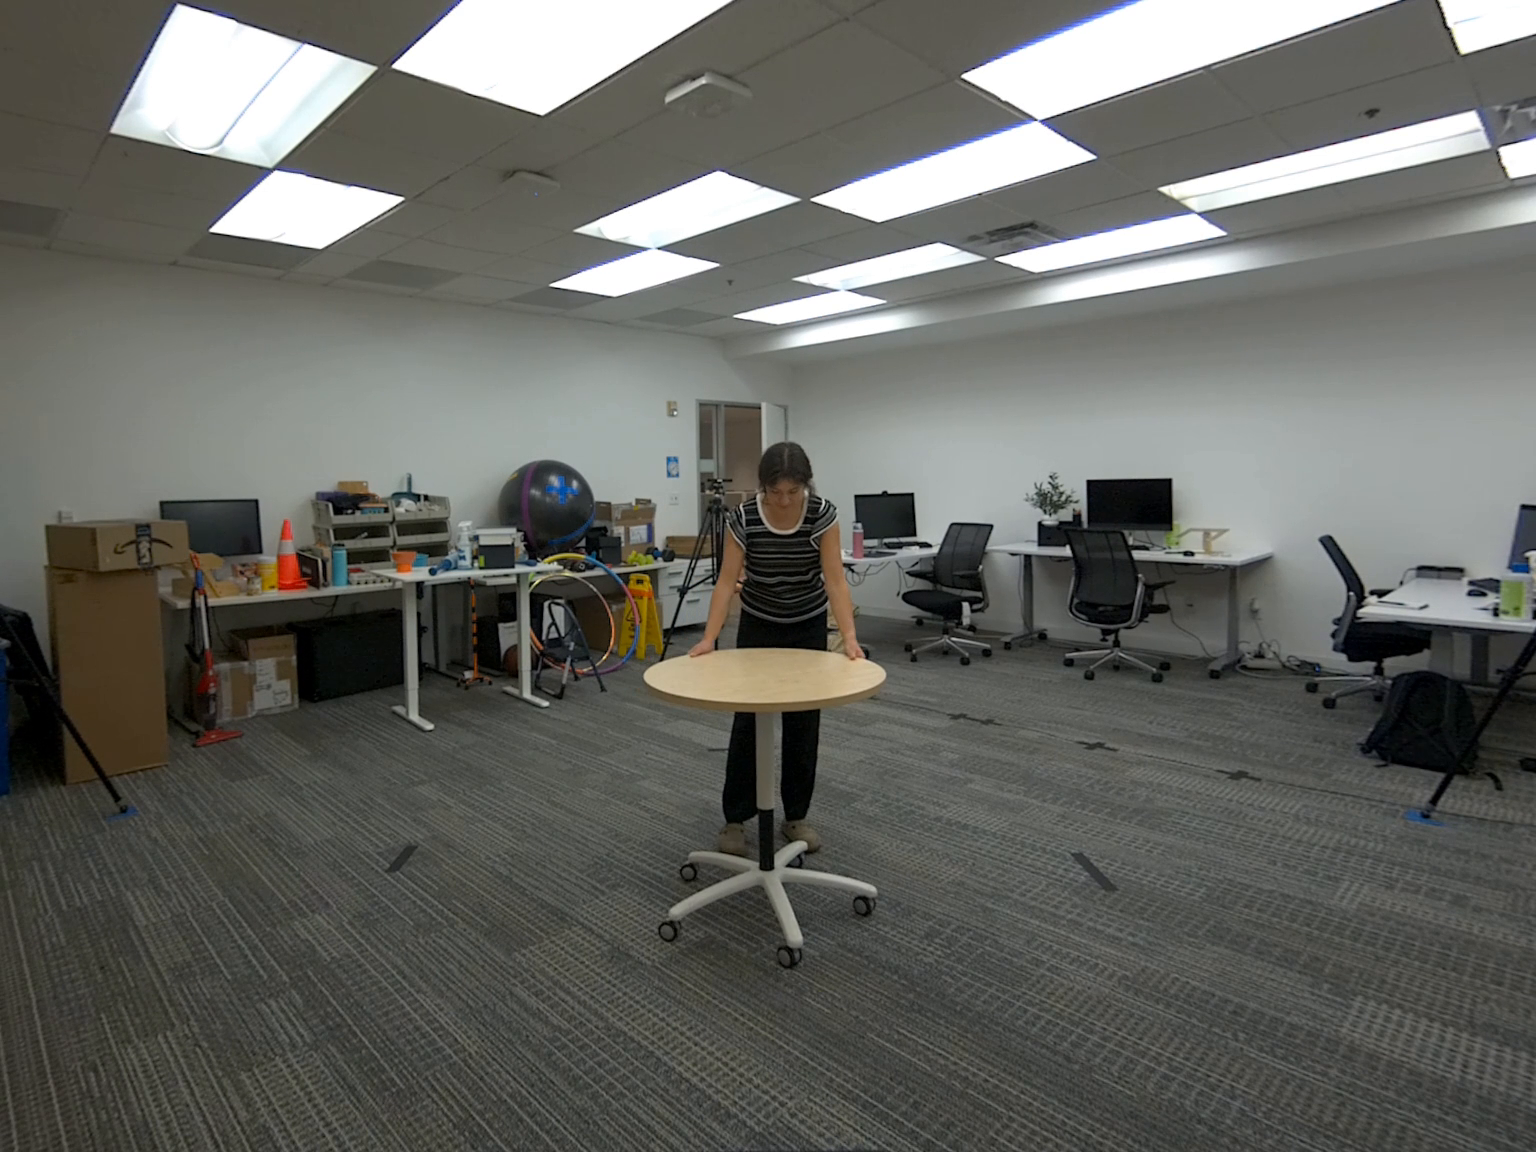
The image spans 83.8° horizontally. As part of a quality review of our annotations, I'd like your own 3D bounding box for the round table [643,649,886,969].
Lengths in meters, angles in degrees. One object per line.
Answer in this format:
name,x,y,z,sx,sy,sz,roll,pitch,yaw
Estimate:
round table,-0.011,0.701,2.738,0.763,0.791,0.768,-1,5,-2
